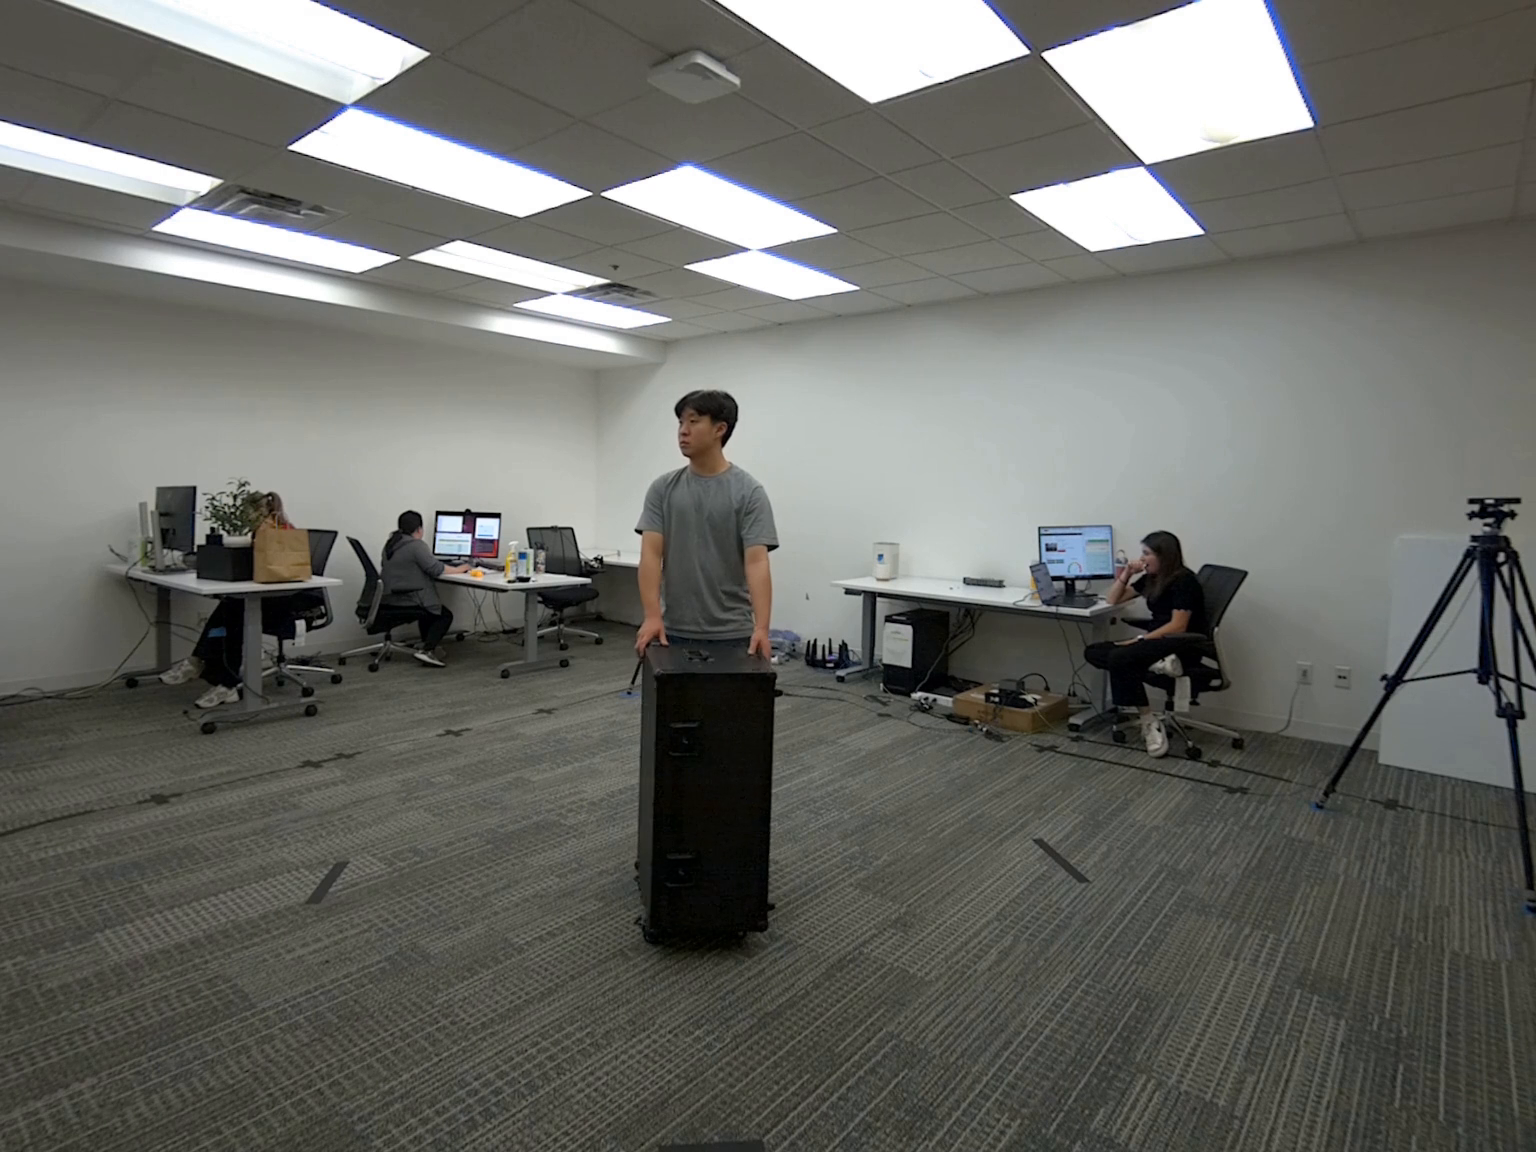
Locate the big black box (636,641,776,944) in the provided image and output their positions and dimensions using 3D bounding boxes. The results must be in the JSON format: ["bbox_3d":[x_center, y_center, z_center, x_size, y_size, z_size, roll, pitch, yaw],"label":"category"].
[{"bbox_3d":[-0.219,0.675,2.729,0.392,0.859,0.528,1,3,-11],"label":"big black box"}]
